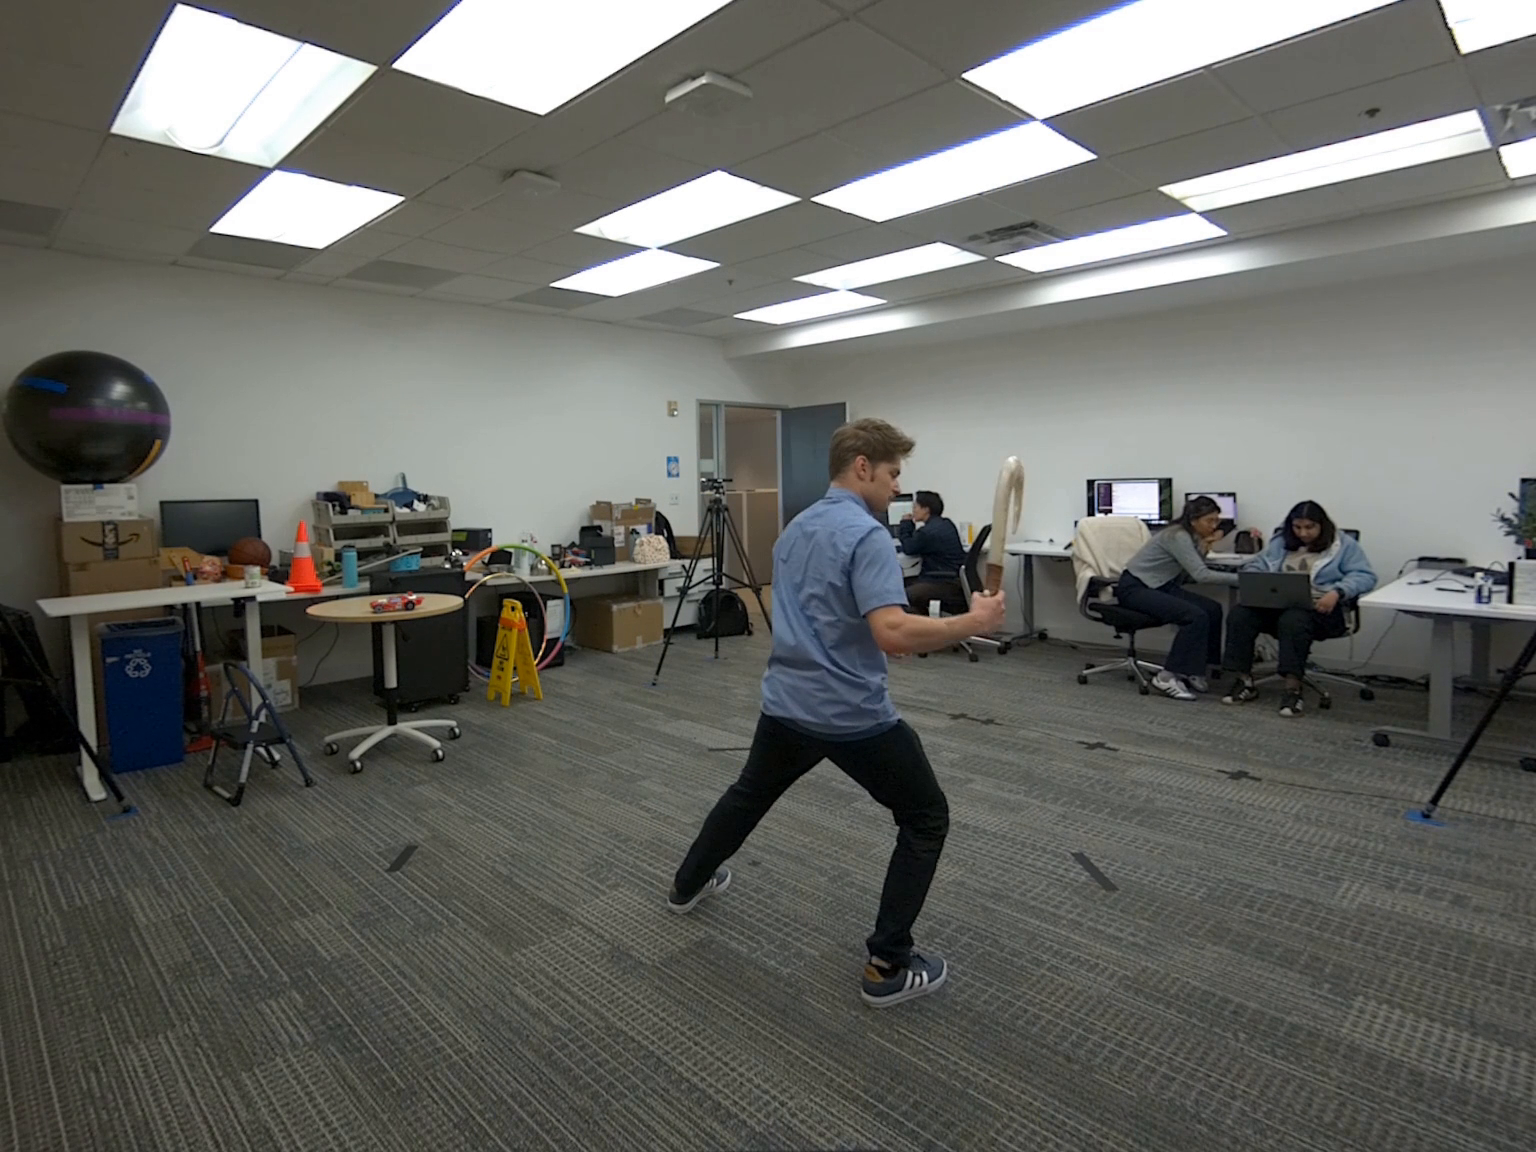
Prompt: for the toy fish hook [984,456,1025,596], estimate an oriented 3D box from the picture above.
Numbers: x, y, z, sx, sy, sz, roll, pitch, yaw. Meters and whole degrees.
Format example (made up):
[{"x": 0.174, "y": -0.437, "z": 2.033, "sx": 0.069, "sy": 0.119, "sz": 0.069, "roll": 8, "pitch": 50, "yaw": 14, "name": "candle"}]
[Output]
[{"x": 0.645, "y": -0.075, "z": 2.349, "sx": 0.050, "sy": 0.509, "sz": 0.217, "roll": 7, "pitch": -7, "yaw": 34, "name": "toy fish hook"}]
